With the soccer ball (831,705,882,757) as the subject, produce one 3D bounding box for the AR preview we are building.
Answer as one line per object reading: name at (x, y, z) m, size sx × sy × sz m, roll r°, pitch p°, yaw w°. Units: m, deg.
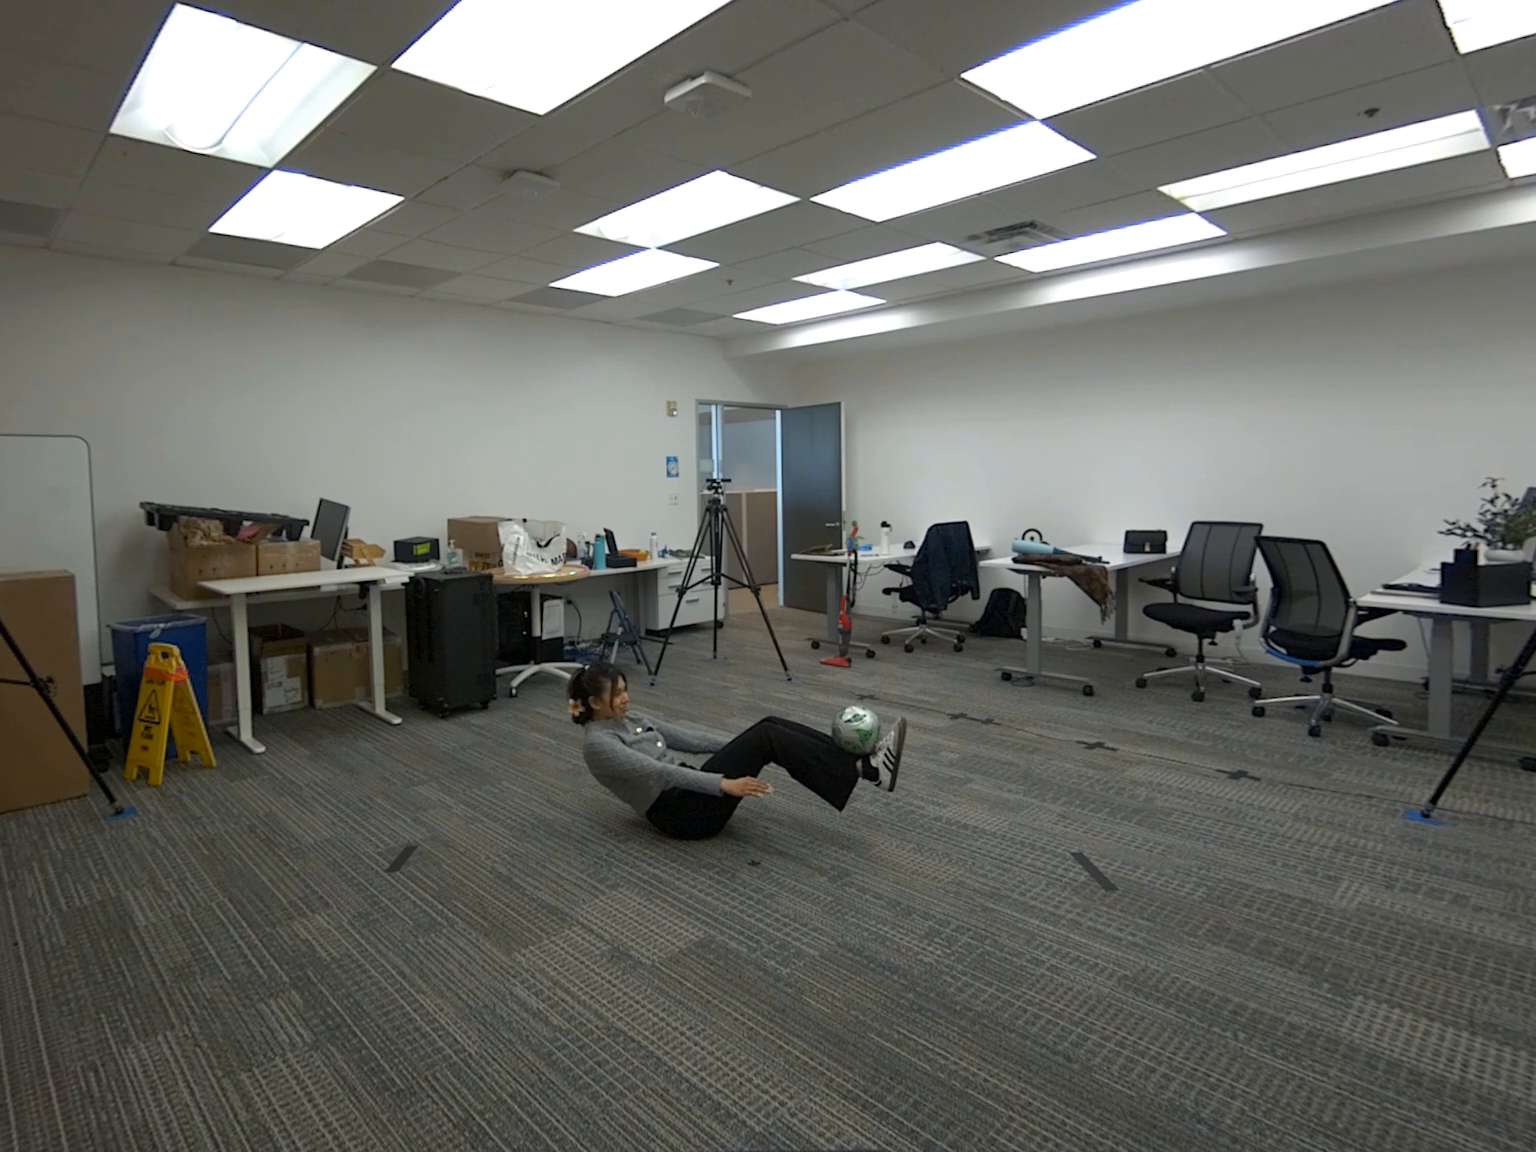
soccer ball at (0.335, 0.584, 3.236) m, size 0.187 × 0.187 × 0.188 m, roll -1°, pitch 5°, yaw -2°
